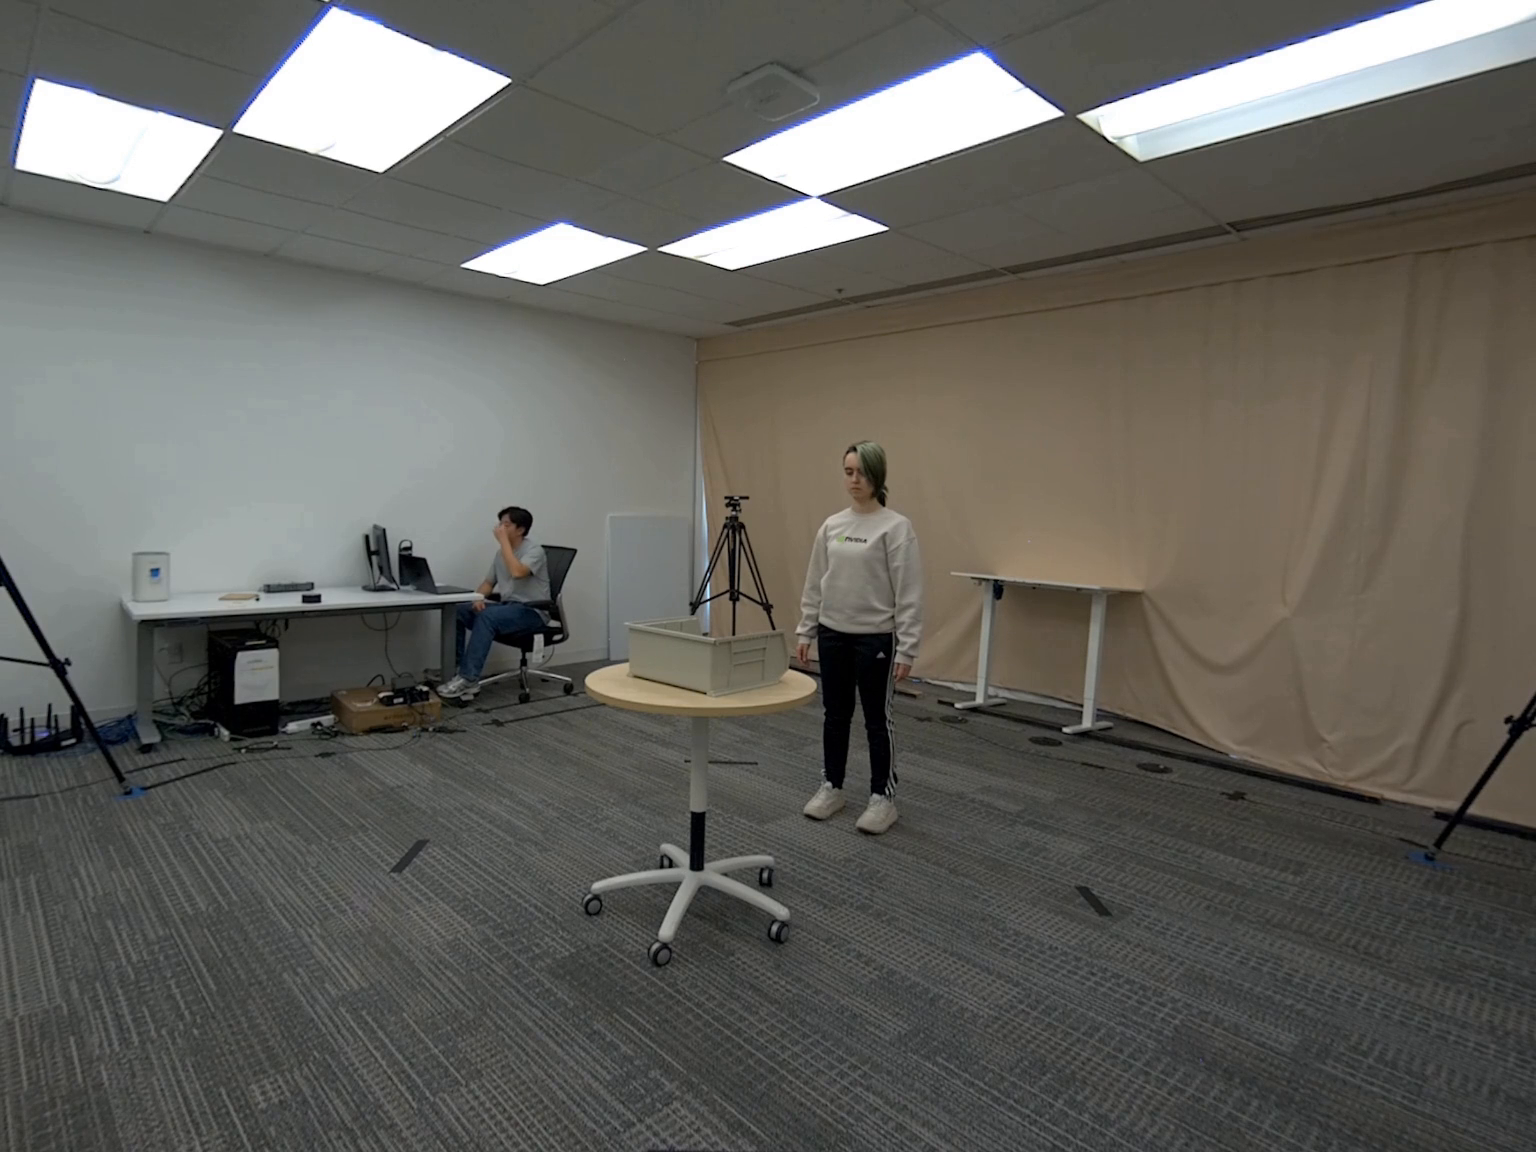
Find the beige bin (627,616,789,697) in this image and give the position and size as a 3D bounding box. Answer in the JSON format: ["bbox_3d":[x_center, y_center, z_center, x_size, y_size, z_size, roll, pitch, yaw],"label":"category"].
[{"bbox_3d":[-0.207,0.259,2.814,0.433,0.188,0.369,6,7,41],"label":"beige bin"}]
